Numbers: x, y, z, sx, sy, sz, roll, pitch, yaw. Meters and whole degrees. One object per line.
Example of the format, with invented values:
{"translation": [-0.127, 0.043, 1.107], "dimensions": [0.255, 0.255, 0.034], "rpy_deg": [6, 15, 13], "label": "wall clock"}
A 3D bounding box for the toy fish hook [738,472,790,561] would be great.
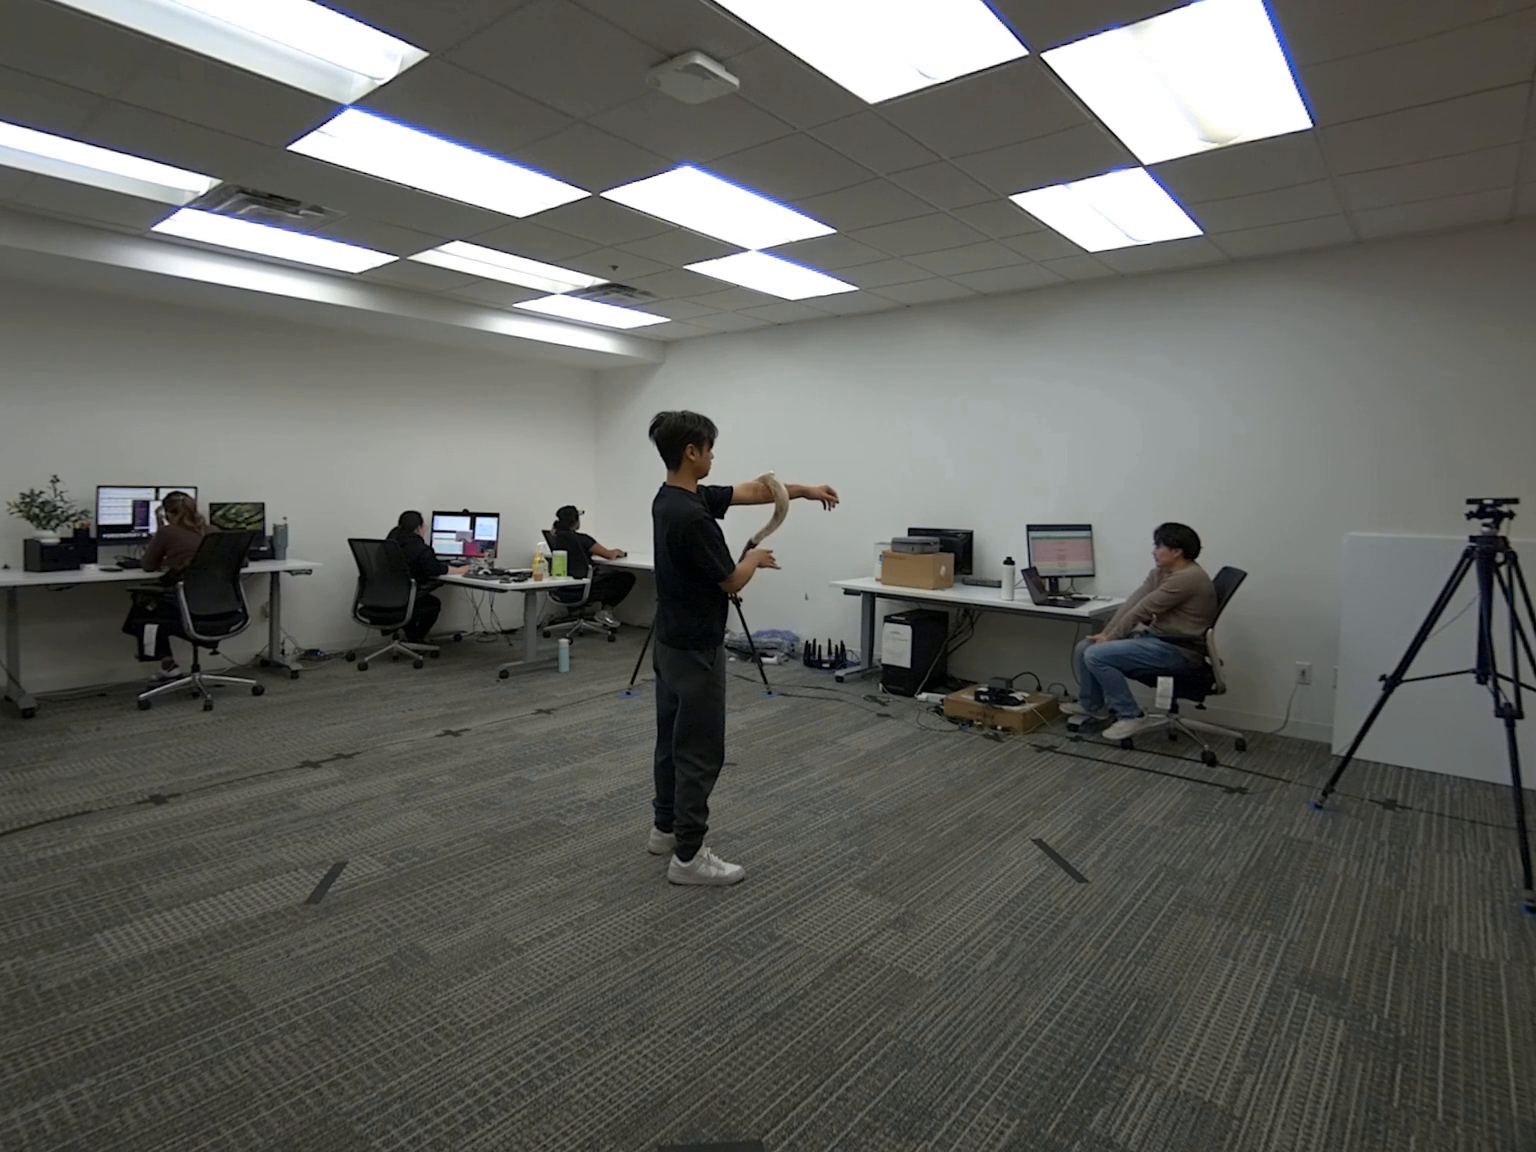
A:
{"translation": [-0.063, -0.213, 3.411], "dimensions": [0.047, 0.233, 0.502], "rpy_deg": [-4, -37, -34], "label": "toy fish hook"}
